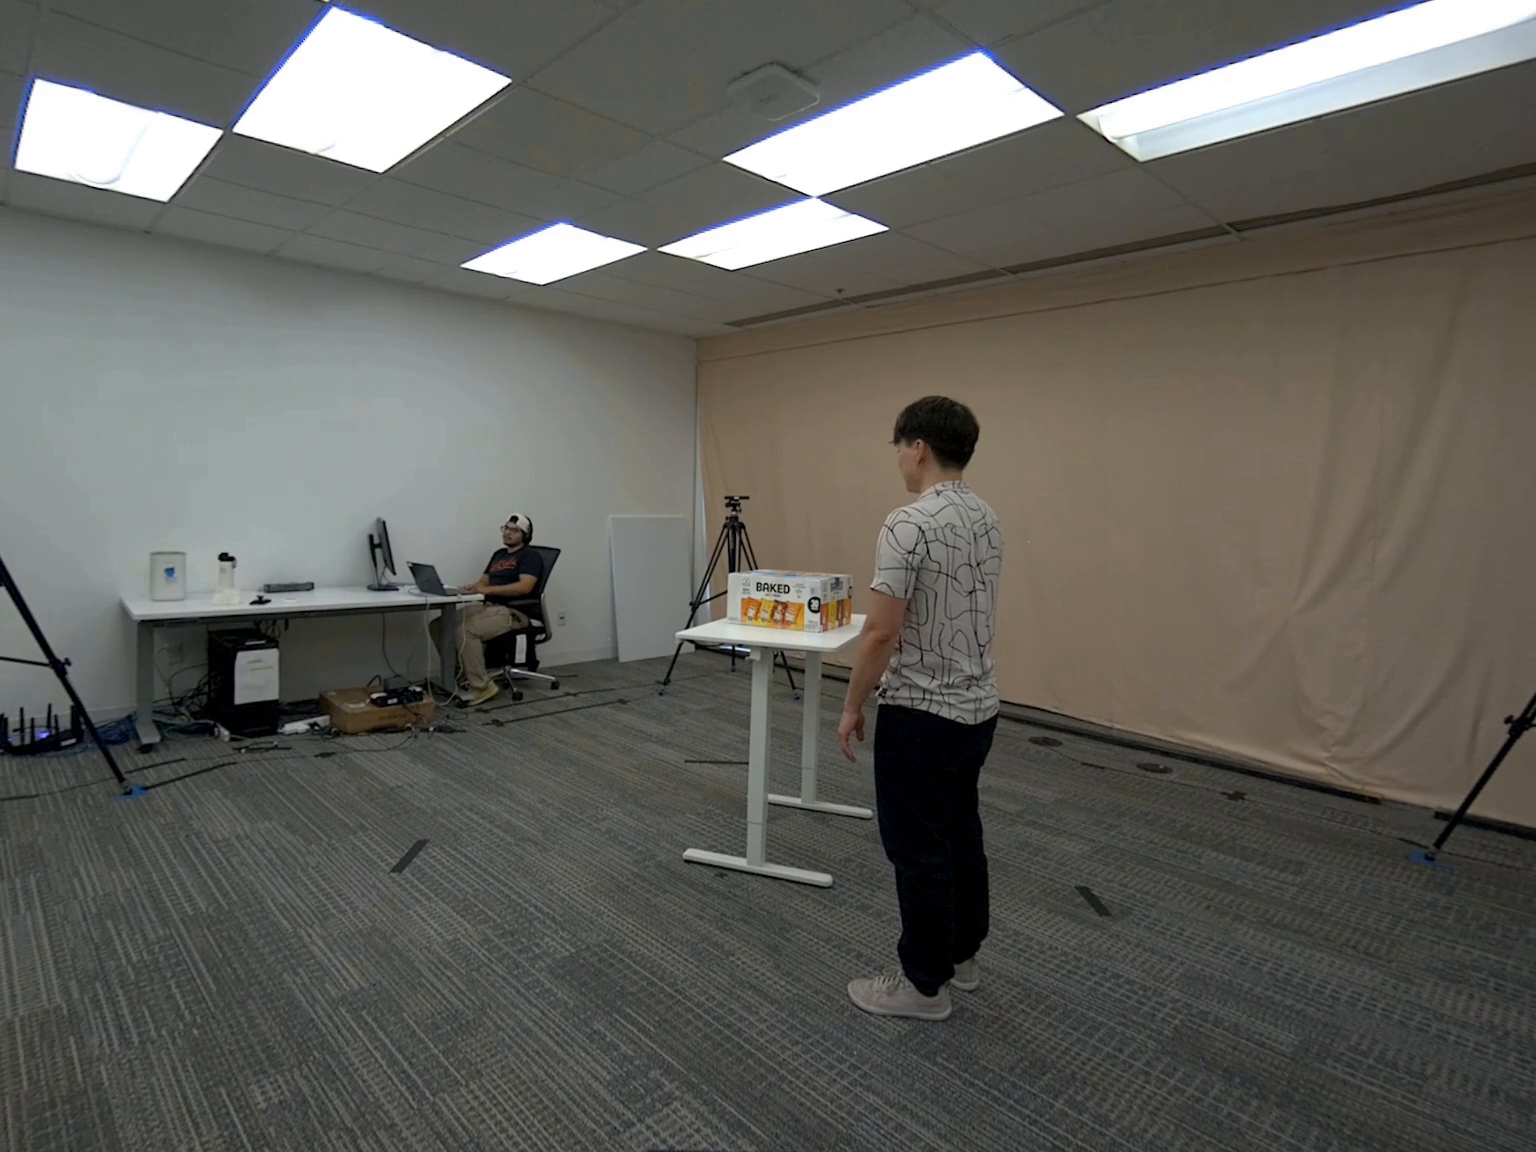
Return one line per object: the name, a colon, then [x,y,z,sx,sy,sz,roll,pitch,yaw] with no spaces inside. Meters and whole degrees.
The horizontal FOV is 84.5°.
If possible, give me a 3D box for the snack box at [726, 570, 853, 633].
snack box: [0.088,0.094,3.451,0.413,0.205,0.334,4,4,27]
